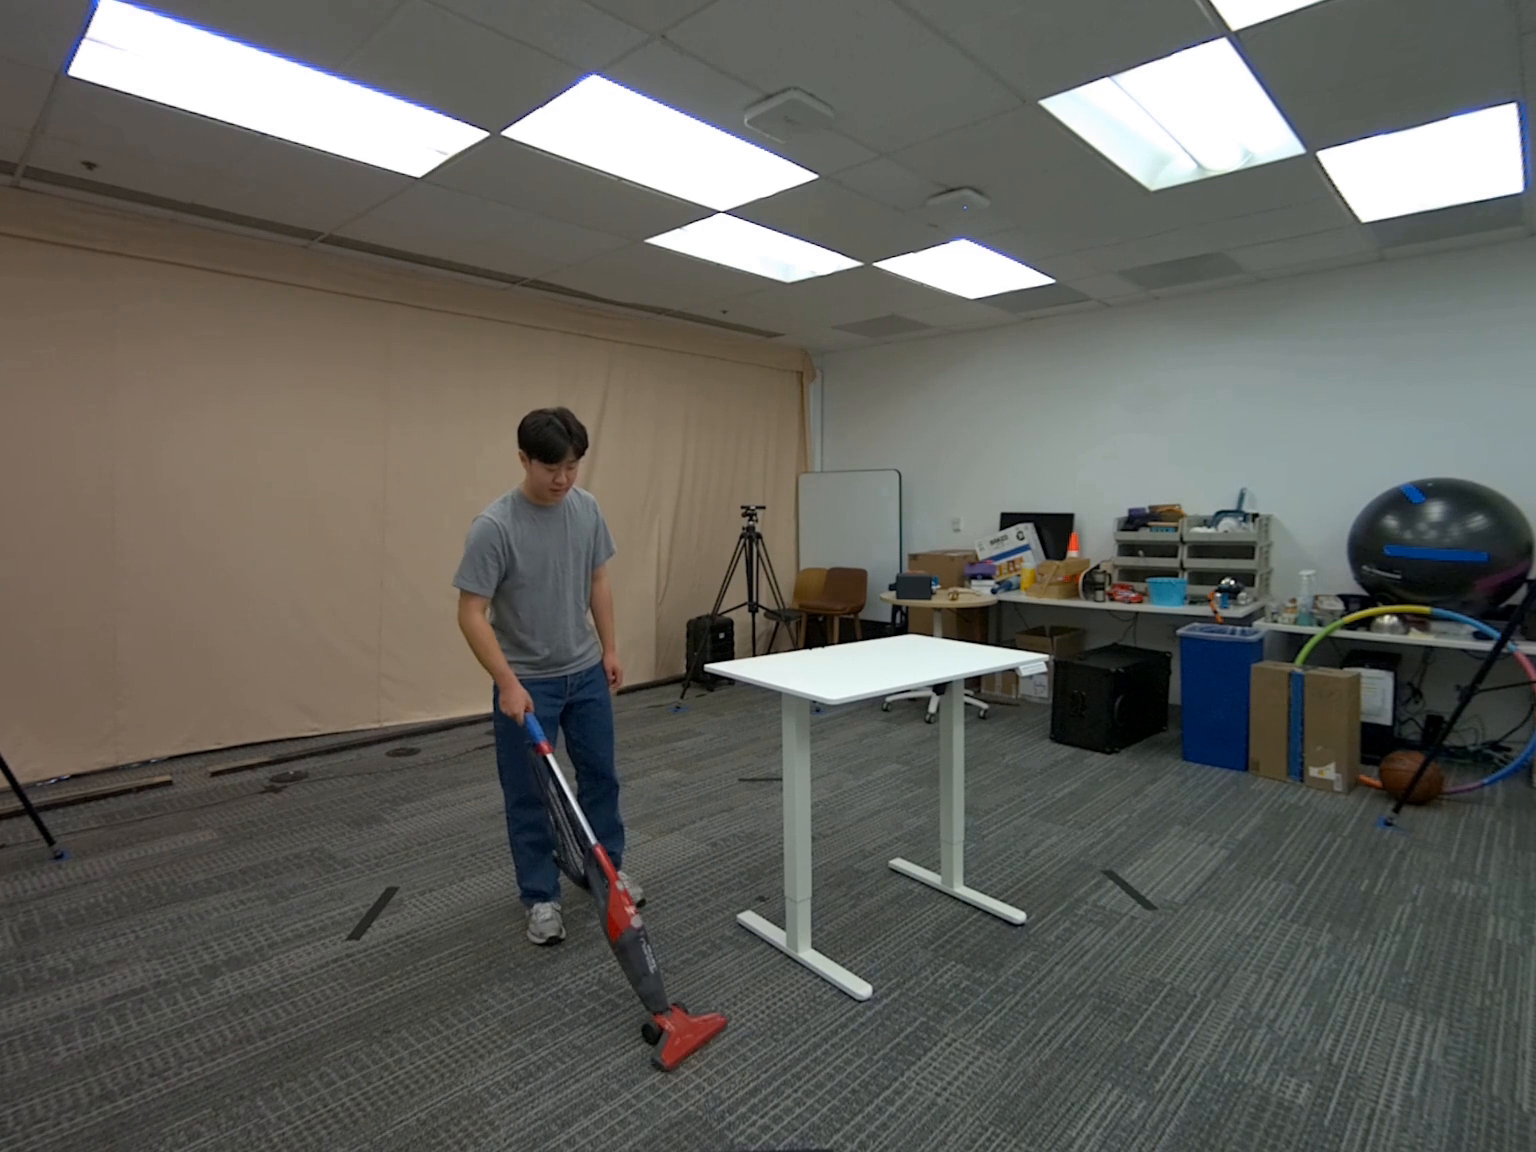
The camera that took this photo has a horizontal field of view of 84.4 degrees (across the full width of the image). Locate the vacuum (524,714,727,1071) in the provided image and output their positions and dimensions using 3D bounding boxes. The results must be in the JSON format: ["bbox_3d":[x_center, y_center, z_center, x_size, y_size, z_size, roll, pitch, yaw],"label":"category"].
[{"bbox_3d":[-0.503,0.797,2.381,0.145,1.073,0.245,-46,-23,27],"label":"vacuum"}]
